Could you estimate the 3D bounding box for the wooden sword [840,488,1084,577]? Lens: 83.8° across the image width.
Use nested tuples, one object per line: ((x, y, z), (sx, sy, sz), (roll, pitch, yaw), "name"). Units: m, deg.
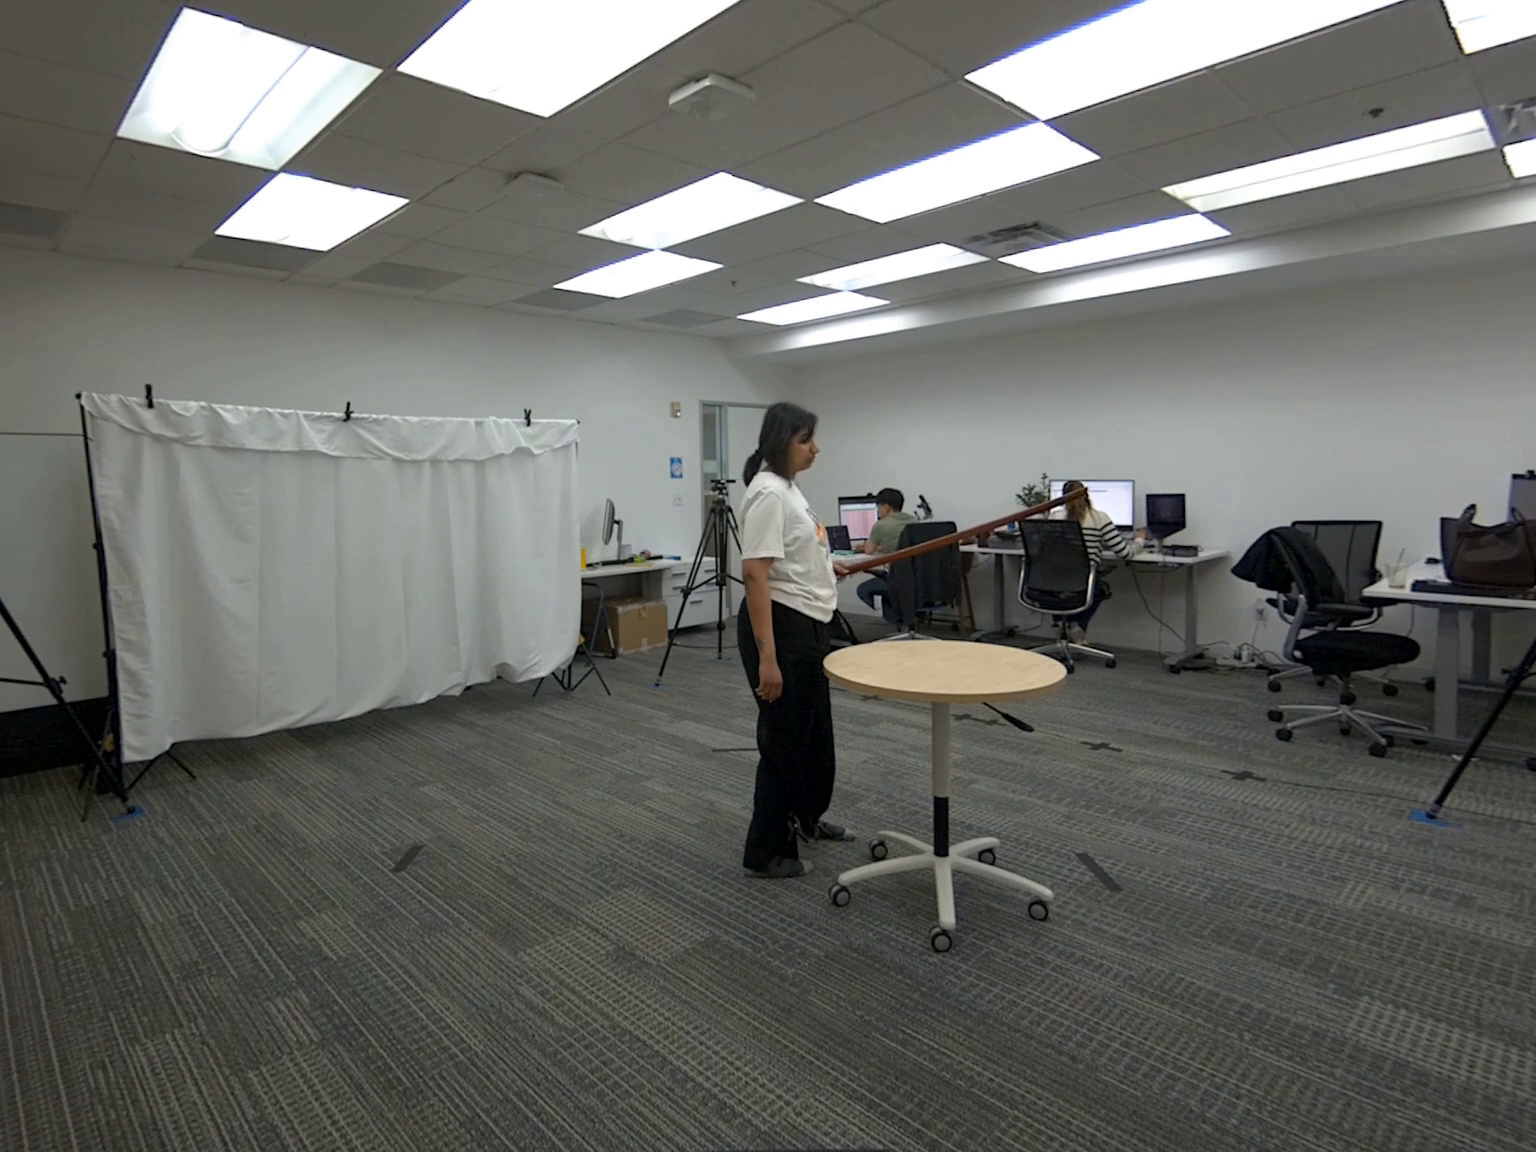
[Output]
((0.606, -0.111, 3.123), (1.041, 0.024, 0.051), (-20, 9, 35), "wooden sword")
